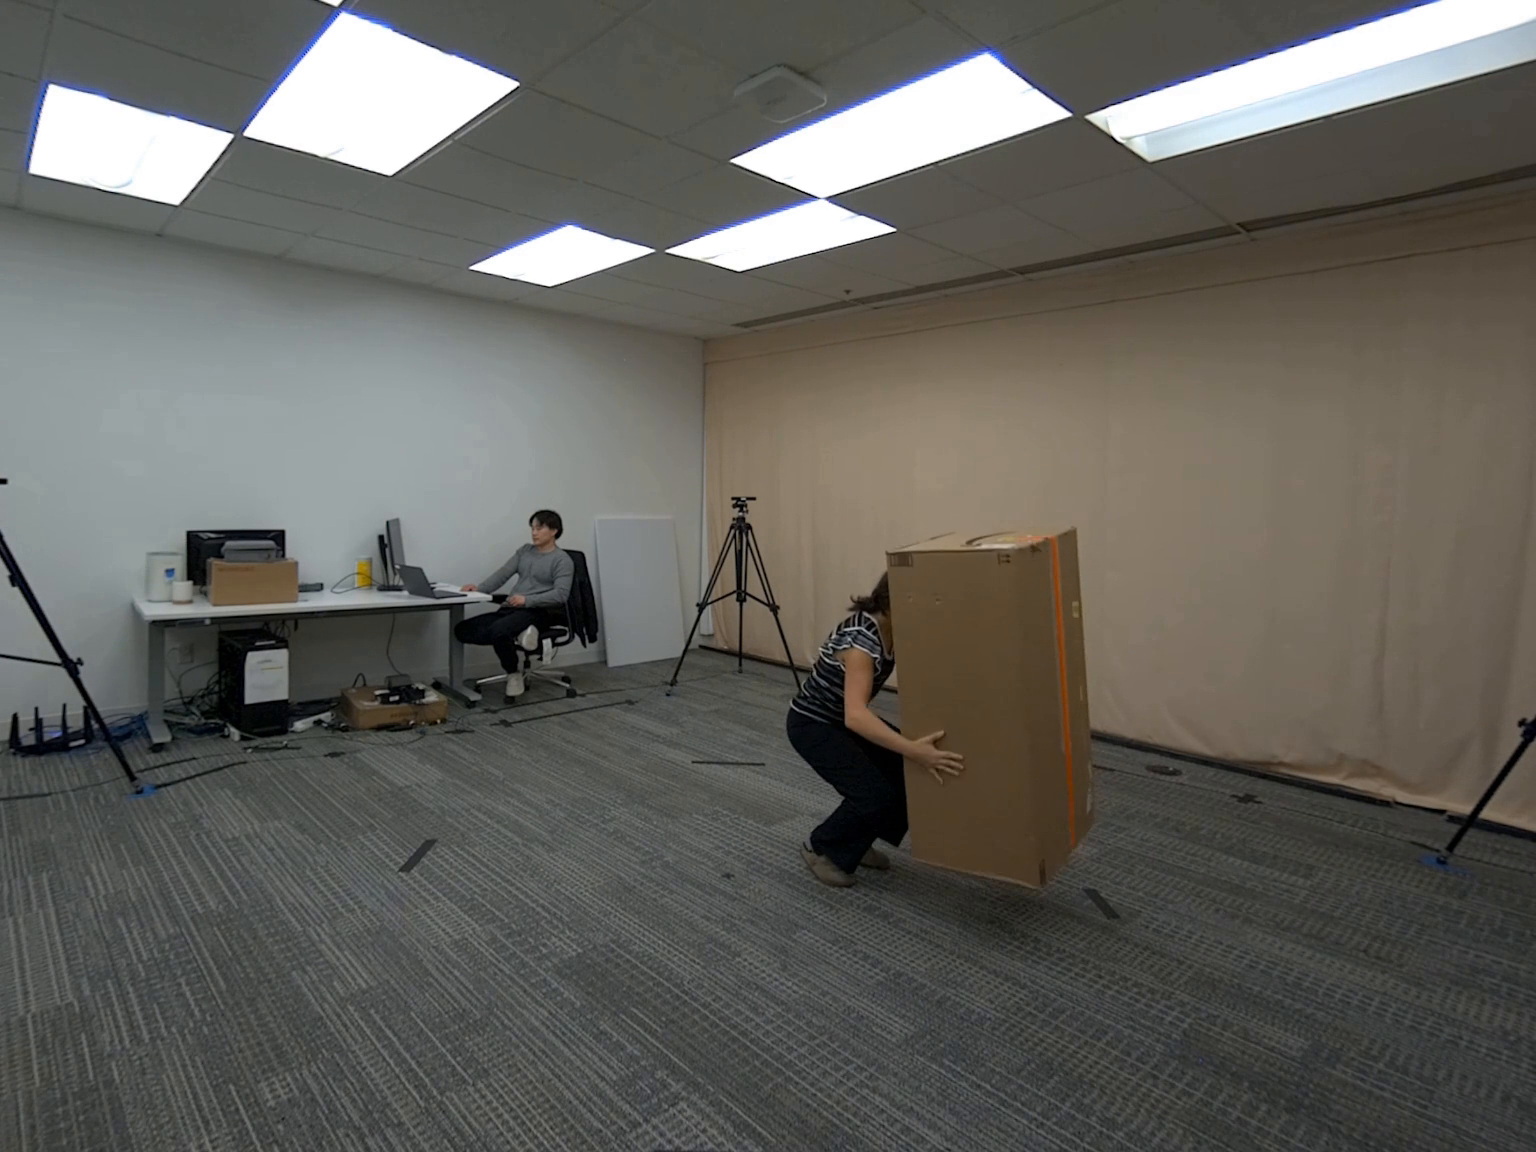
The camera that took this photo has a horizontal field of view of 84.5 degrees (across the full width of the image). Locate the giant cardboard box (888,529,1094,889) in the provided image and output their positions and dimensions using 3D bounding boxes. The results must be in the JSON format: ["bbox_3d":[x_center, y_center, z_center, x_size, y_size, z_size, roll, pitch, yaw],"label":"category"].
[{"bbox_3d":[0.745,0.382,2.785,0.436,1.022,0.567,-2,6,38],"label":"giant cardboard box"}]
